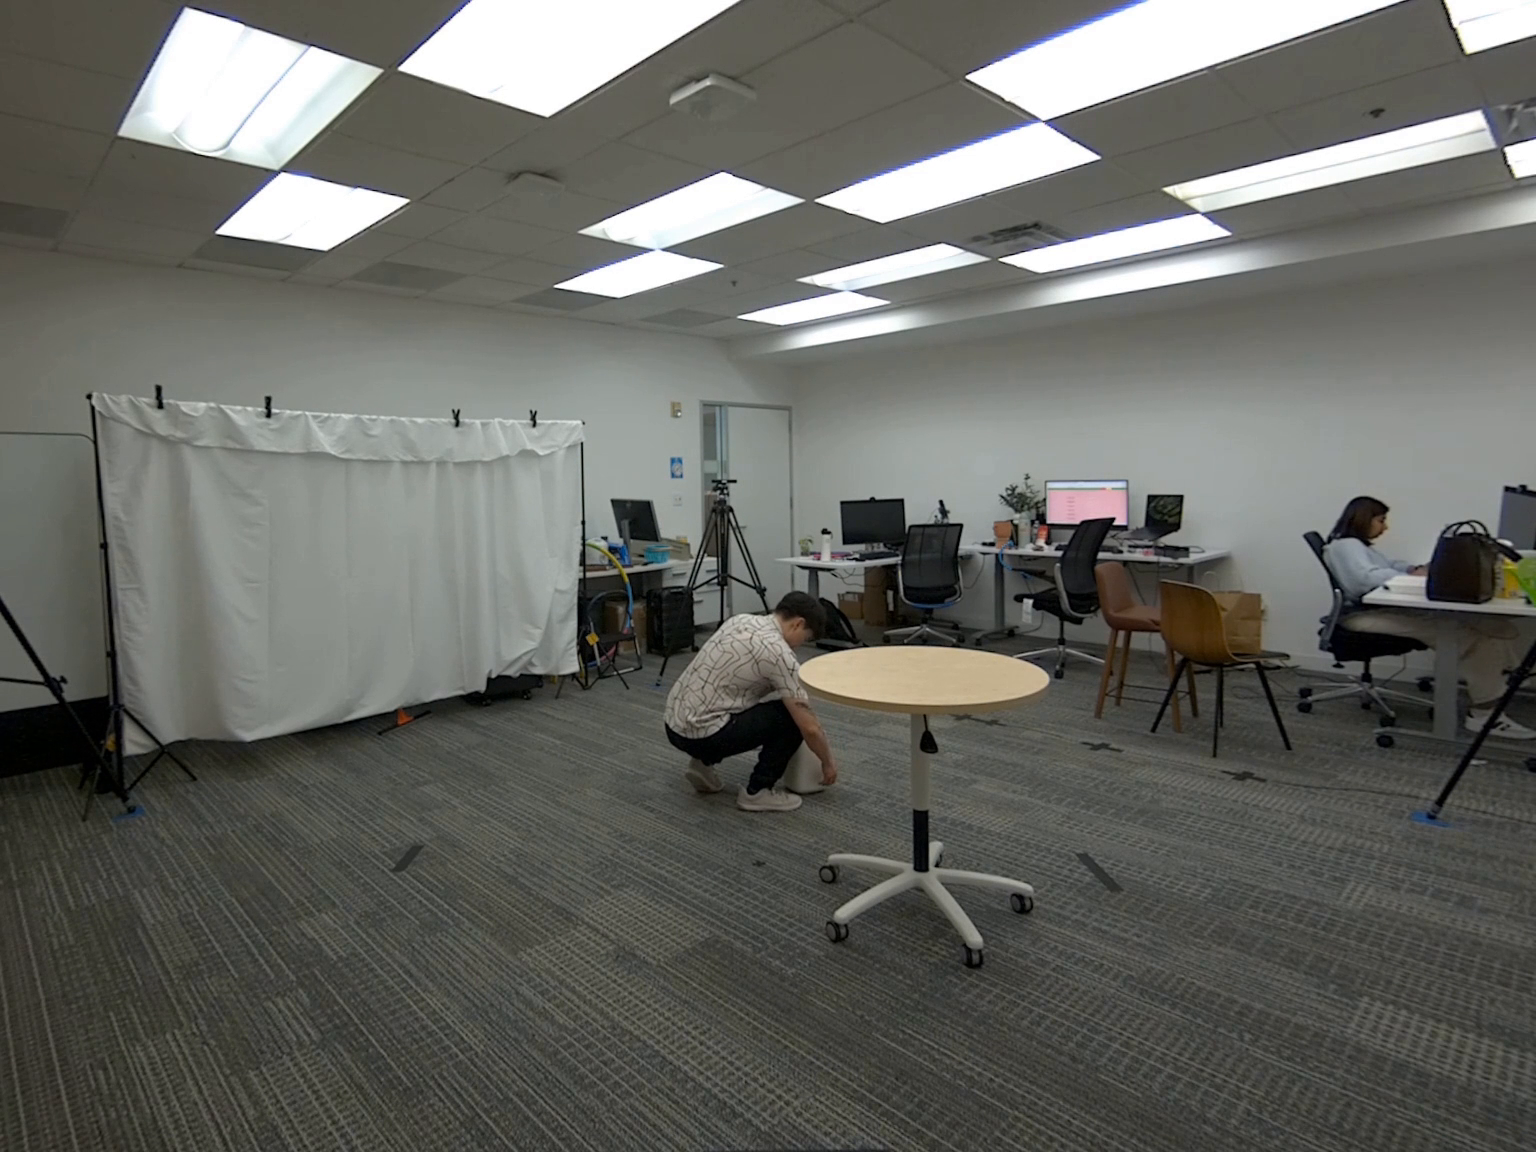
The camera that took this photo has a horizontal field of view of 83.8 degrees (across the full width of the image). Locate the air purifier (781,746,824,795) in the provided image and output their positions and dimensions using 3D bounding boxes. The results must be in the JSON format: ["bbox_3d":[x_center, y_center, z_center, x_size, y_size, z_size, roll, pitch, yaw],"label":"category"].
[{"bbox_3d":[0.164,0.821,3.847,0.167,0.265,0.176,-1,1,-29],"label":"air purifier"}]
